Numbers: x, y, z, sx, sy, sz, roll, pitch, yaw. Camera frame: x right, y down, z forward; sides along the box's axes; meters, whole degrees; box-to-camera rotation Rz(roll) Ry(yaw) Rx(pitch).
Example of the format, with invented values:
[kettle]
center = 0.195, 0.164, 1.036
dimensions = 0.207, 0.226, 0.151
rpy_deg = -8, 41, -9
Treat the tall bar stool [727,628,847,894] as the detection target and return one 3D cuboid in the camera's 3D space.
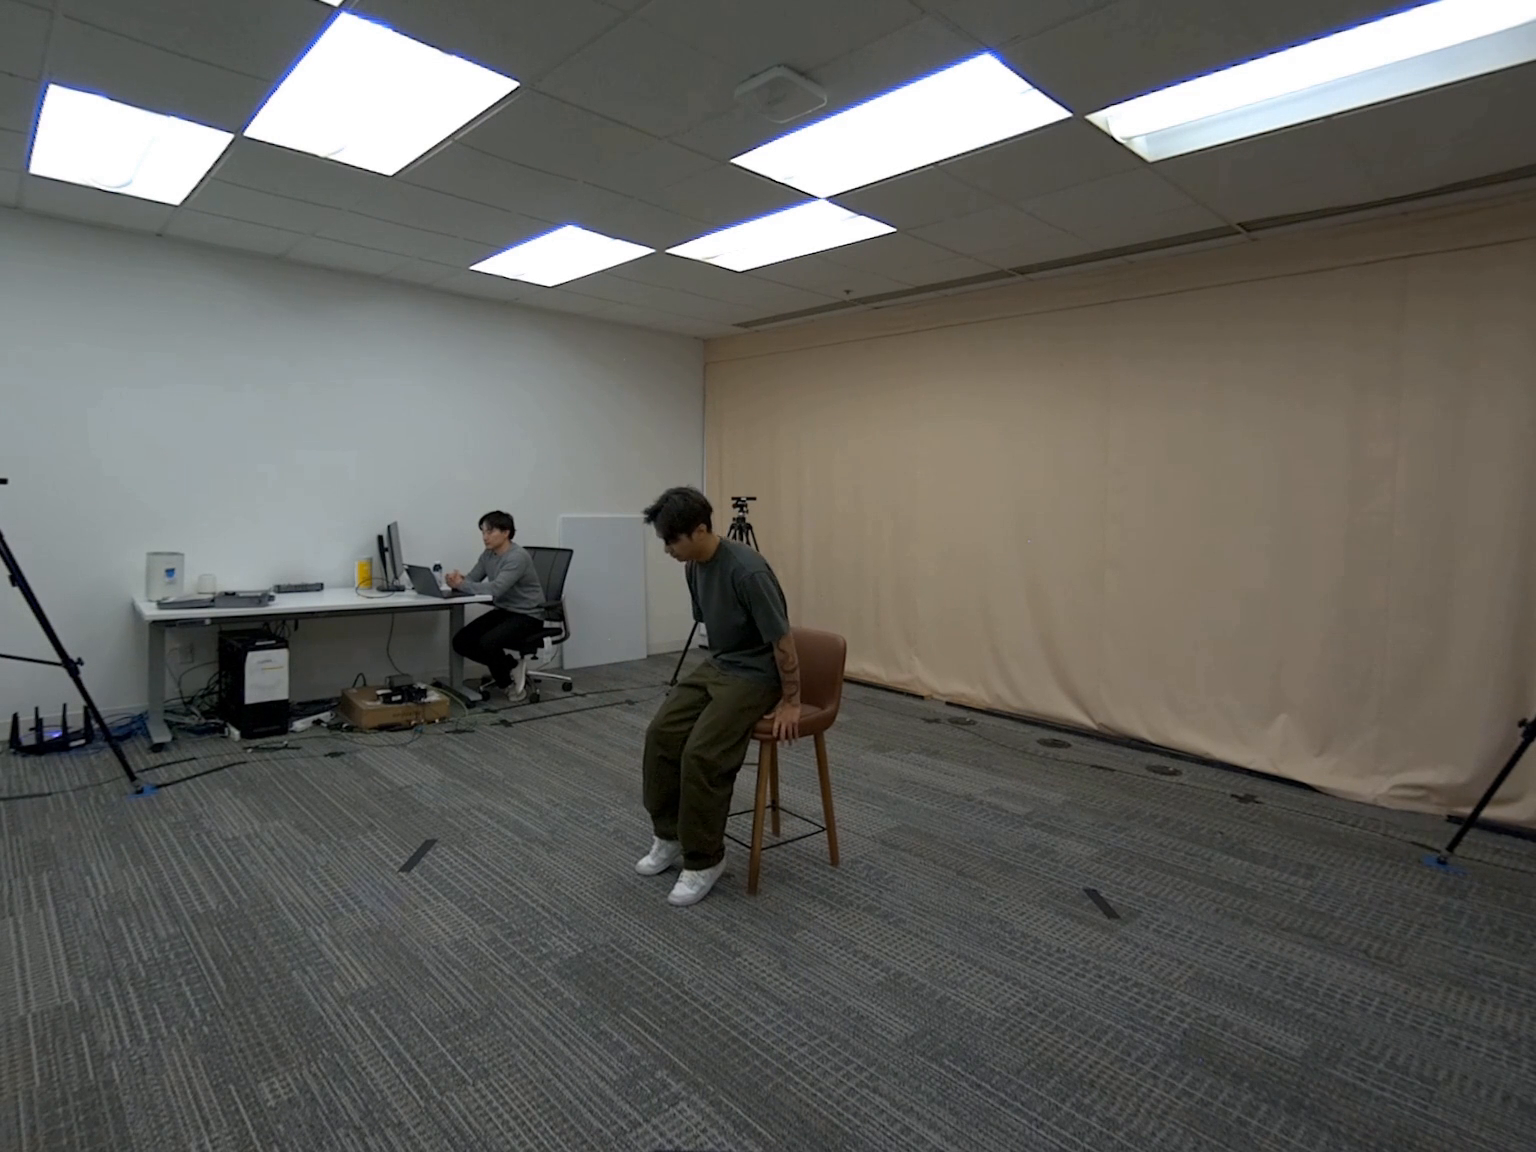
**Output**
[tall bar stool]
center = 0.001, 0.664, 3.220
dimensions = 0.456, 0.888, 0.468
rpy_deg = 1, 3, -39
